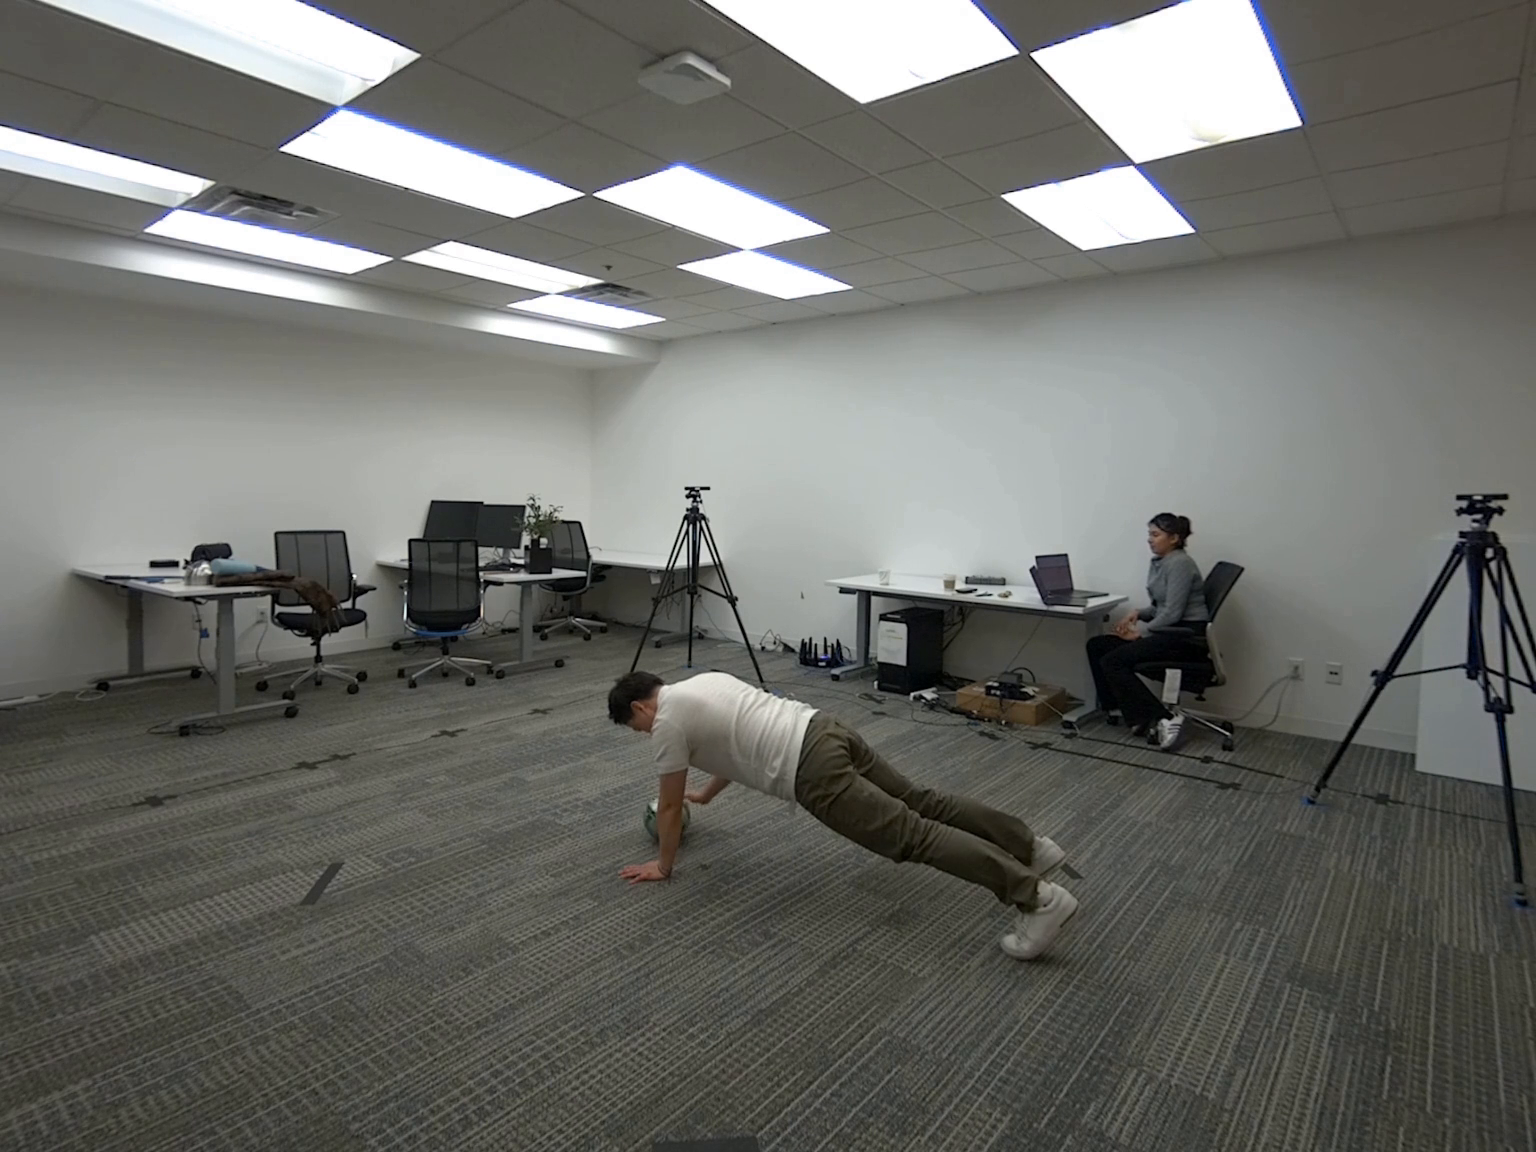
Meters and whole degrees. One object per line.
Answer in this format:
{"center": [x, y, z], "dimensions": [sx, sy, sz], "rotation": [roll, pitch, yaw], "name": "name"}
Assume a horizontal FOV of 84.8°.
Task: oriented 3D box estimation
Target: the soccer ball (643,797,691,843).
{"center": [-0.406, 0.942, 3.352], "dimensions": [0.187, 0.187, 0.188], "rotation": [1, 4, -2], "name": "soccer ball"}
